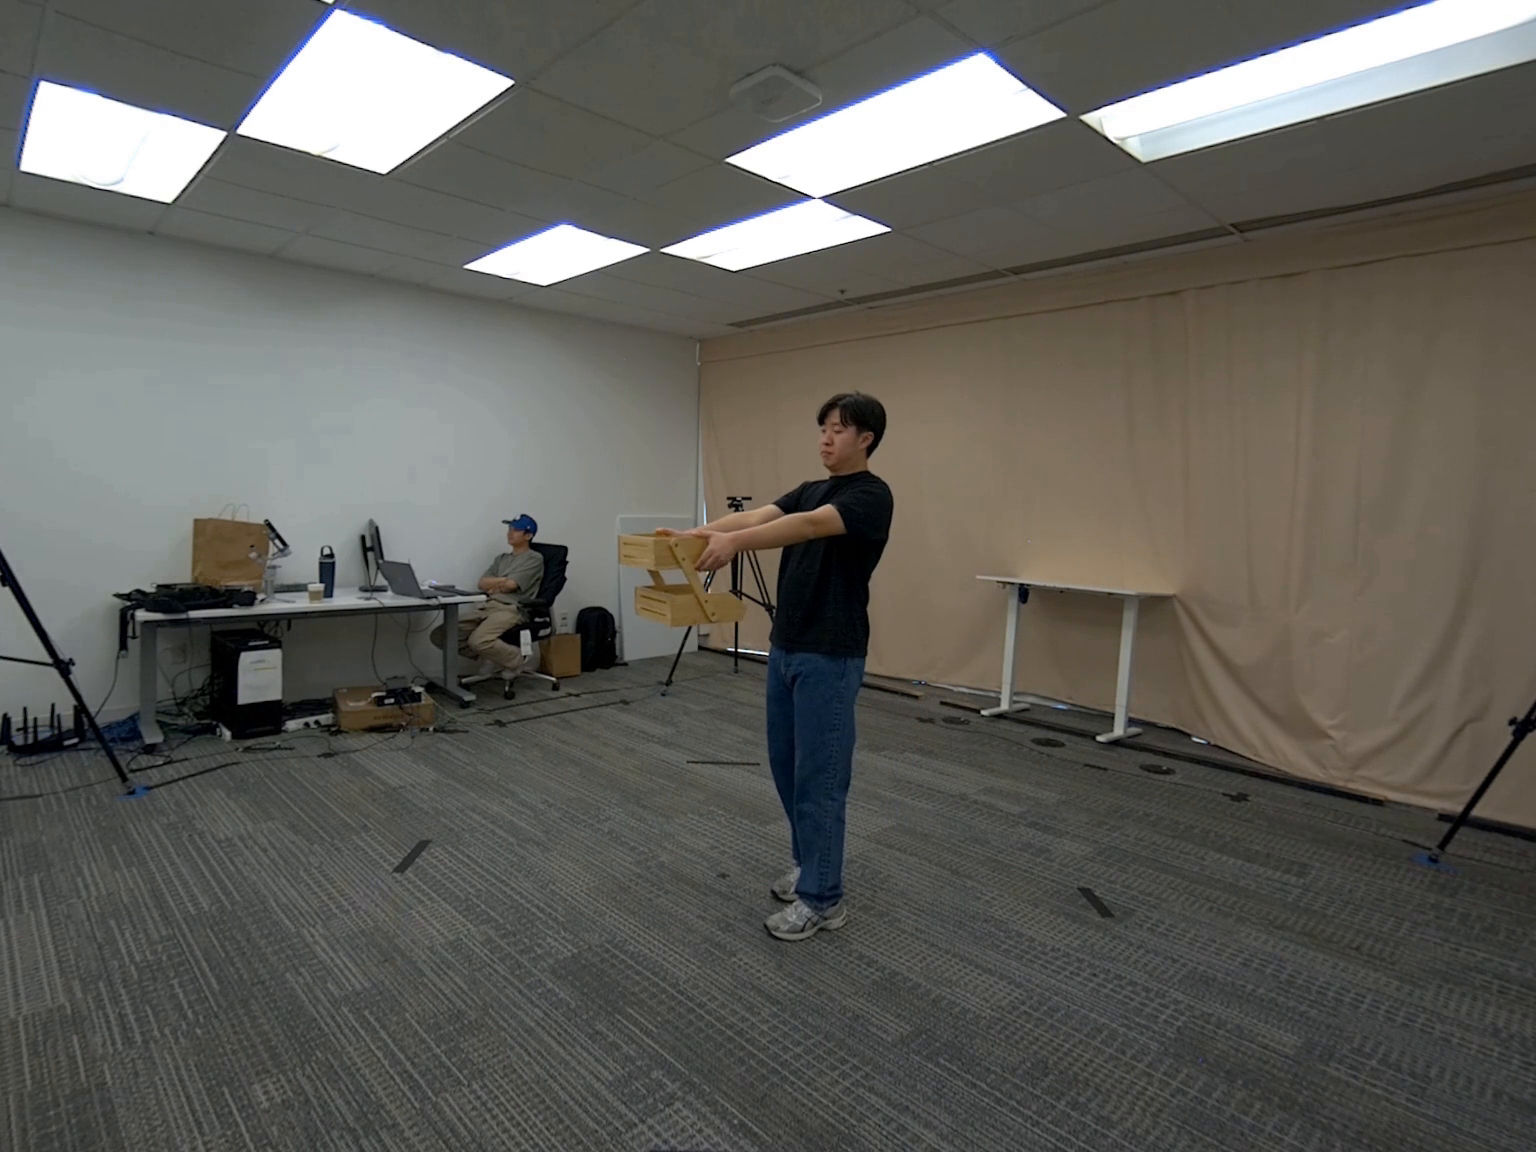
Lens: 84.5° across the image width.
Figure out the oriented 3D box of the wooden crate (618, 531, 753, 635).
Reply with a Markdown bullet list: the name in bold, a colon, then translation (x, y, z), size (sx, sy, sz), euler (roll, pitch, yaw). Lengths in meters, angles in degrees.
- **wooden crate**: translation (-0.260, 0.005, 2.601), size (0.296, 0.272, 0.331), euler (-3, 5, -28)
